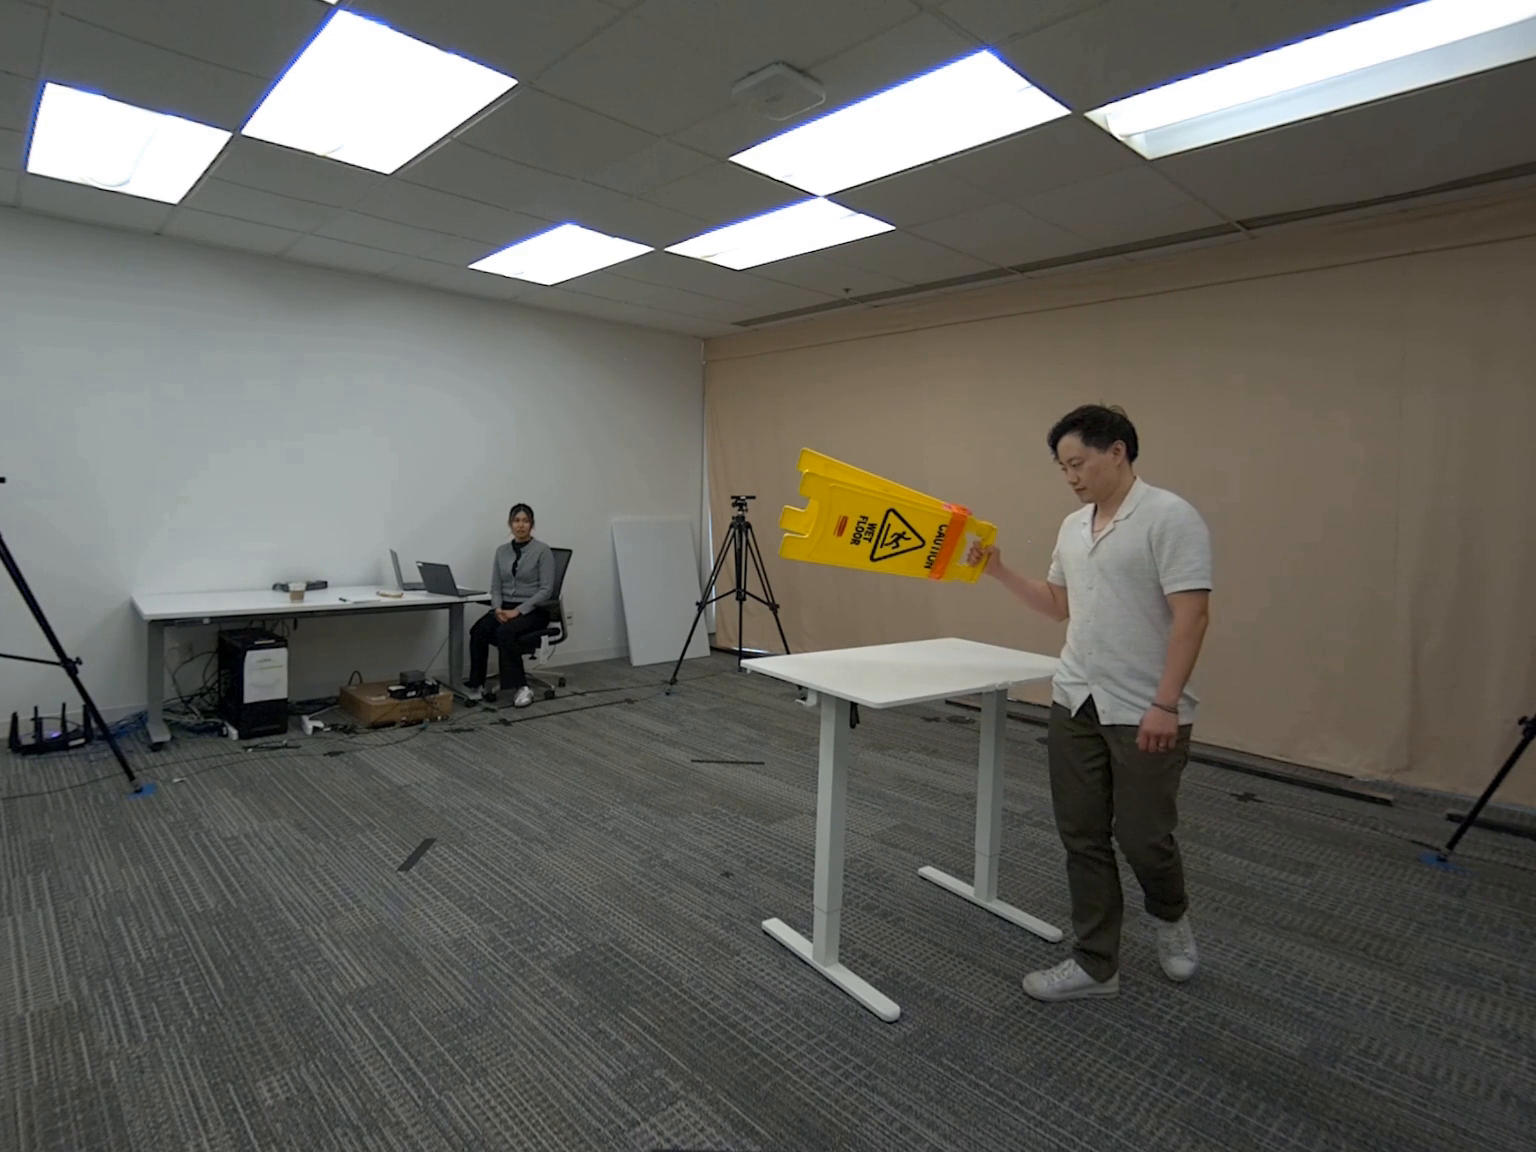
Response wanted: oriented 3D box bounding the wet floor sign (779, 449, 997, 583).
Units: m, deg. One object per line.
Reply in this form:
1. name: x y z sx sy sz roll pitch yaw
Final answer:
1. wet floor sign: 0.384 -0.148 2.630 0.644 0.280 0.293 16 20 -3
